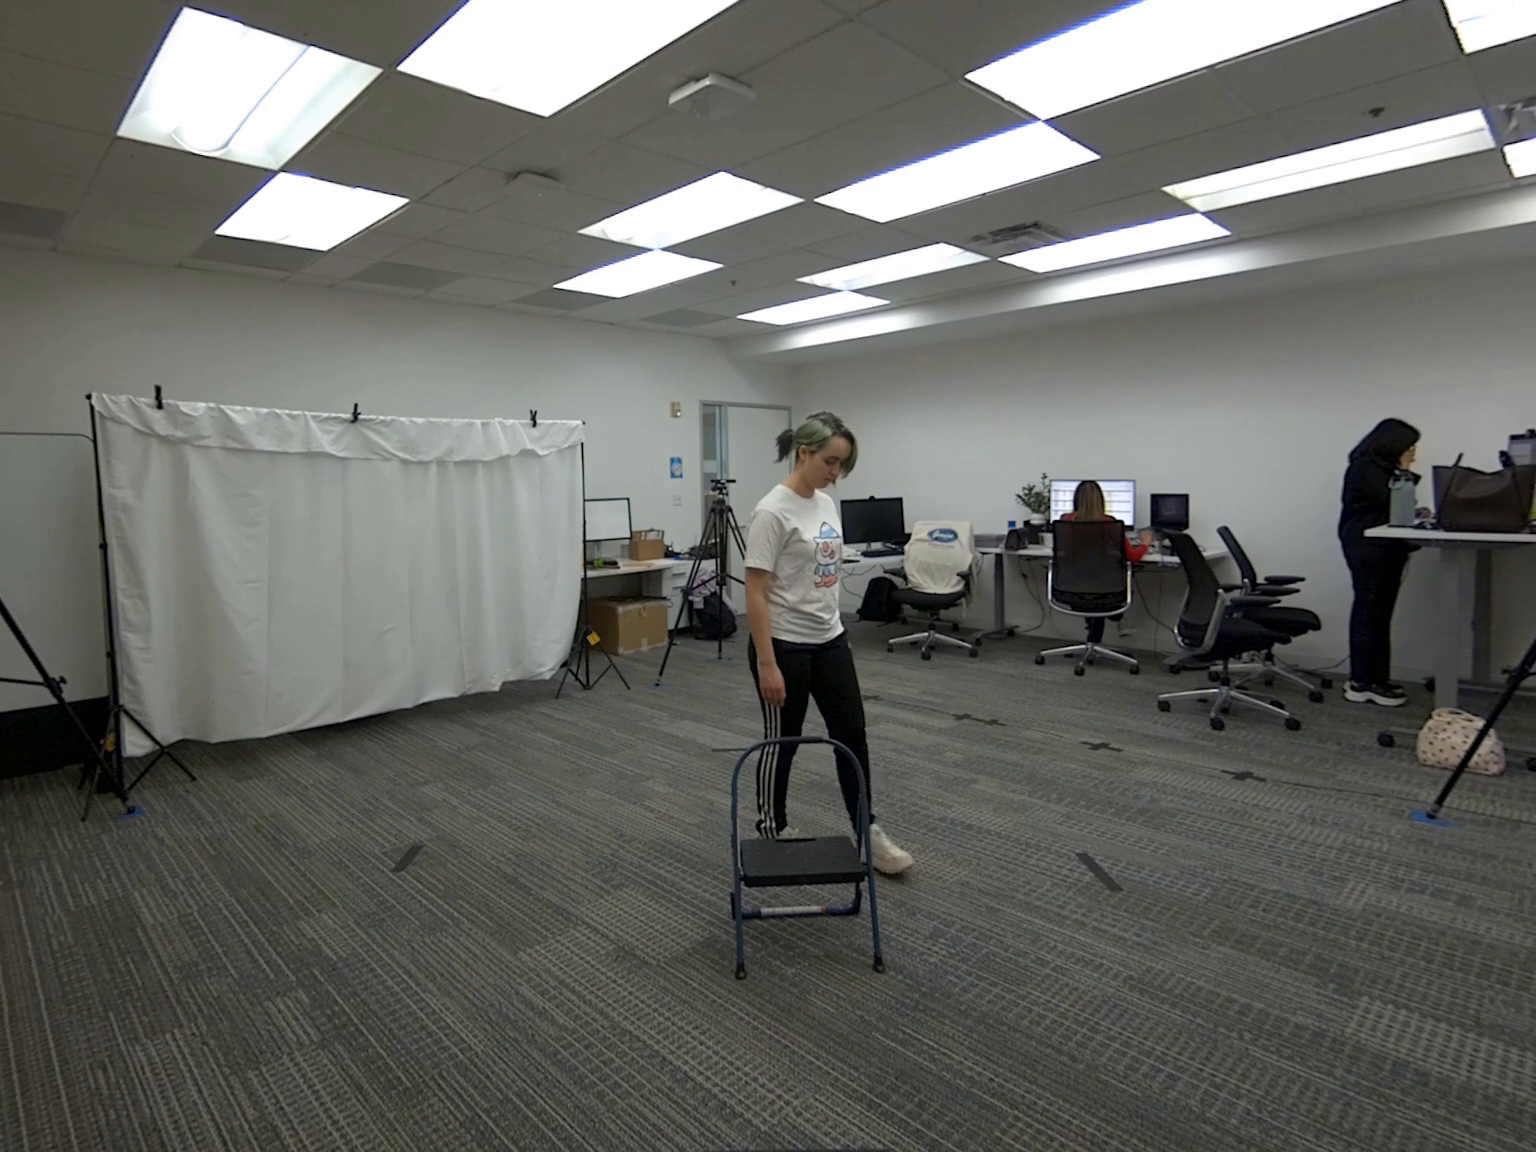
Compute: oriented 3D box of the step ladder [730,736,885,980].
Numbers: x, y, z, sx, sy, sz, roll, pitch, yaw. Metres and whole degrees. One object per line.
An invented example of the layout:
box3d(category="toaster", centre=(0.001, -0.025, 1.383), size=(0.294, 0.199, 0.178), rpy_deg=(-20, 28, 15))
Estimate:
box3d(category="step ladder", centre=(0.100, 0.809, 2.557), size=(0.429, 0.603, 0.352), rpy_deg=(-1, 5, -5))
